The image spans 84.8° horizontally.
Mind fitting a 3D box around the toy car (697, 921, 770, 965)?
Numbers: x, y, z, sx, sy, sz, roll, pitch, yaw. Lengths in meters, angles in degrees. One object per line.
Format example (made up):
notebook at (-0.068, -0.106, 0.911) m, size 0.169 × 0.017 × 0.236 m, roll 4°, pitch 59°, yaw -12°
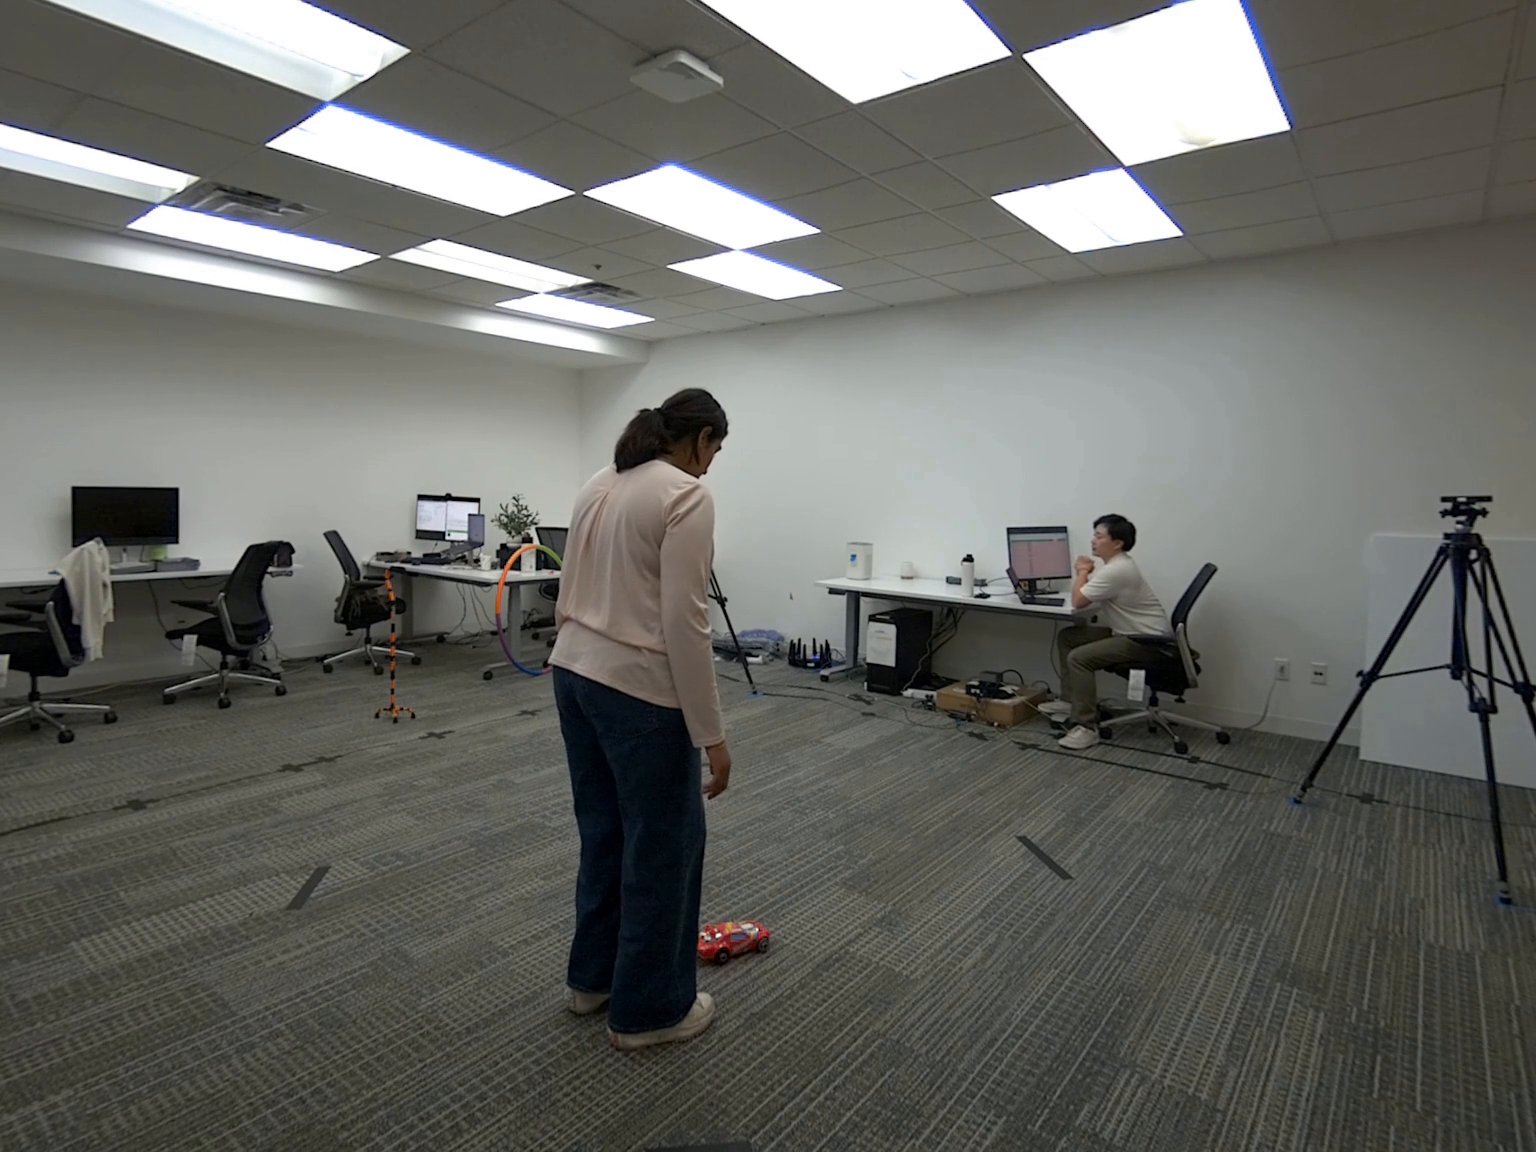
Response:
toy car at (-0.129, 1.091, 2.549) m, size 0.246 × 0.083 × 0.134 m, roll 11°, pitch 0°, yaw -31°
